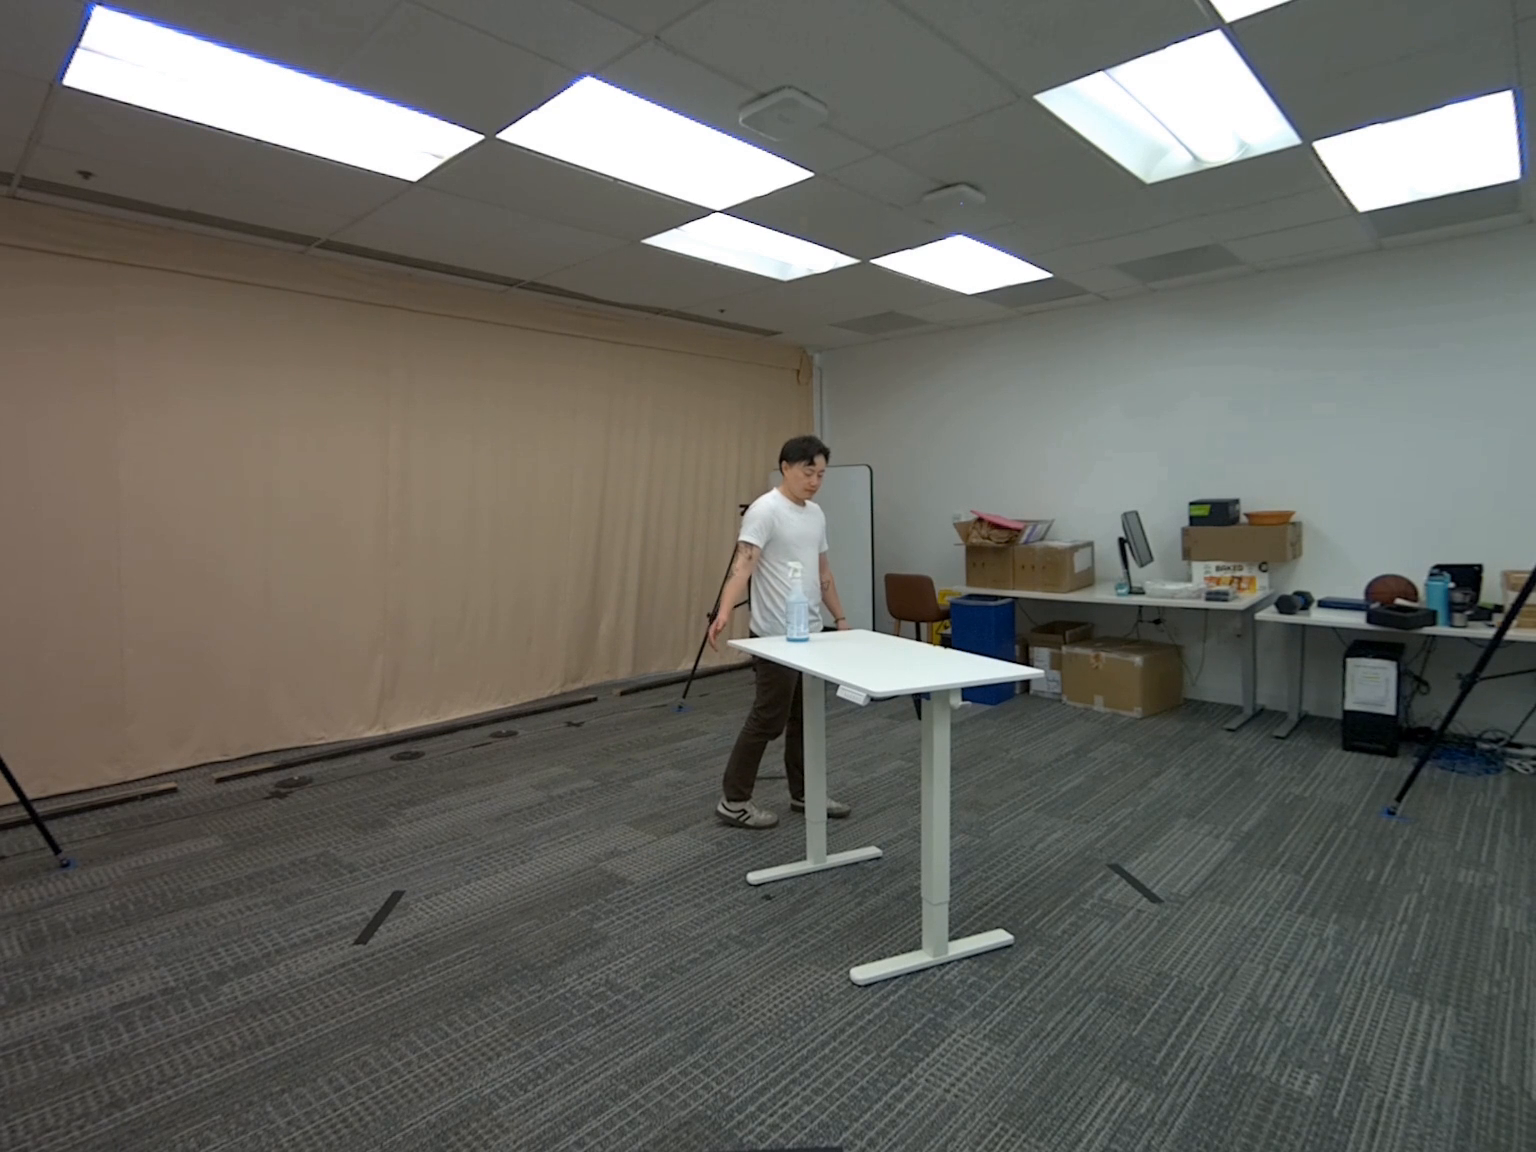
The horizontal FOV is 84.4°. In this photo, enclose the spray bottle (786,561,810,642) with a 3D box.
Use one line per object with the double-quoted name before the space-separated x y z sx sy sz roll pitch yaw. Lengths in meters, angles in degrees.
"spray bottle" 0.103 0.096 3.147 0.088 0.297 0.089 -1 4 -25
